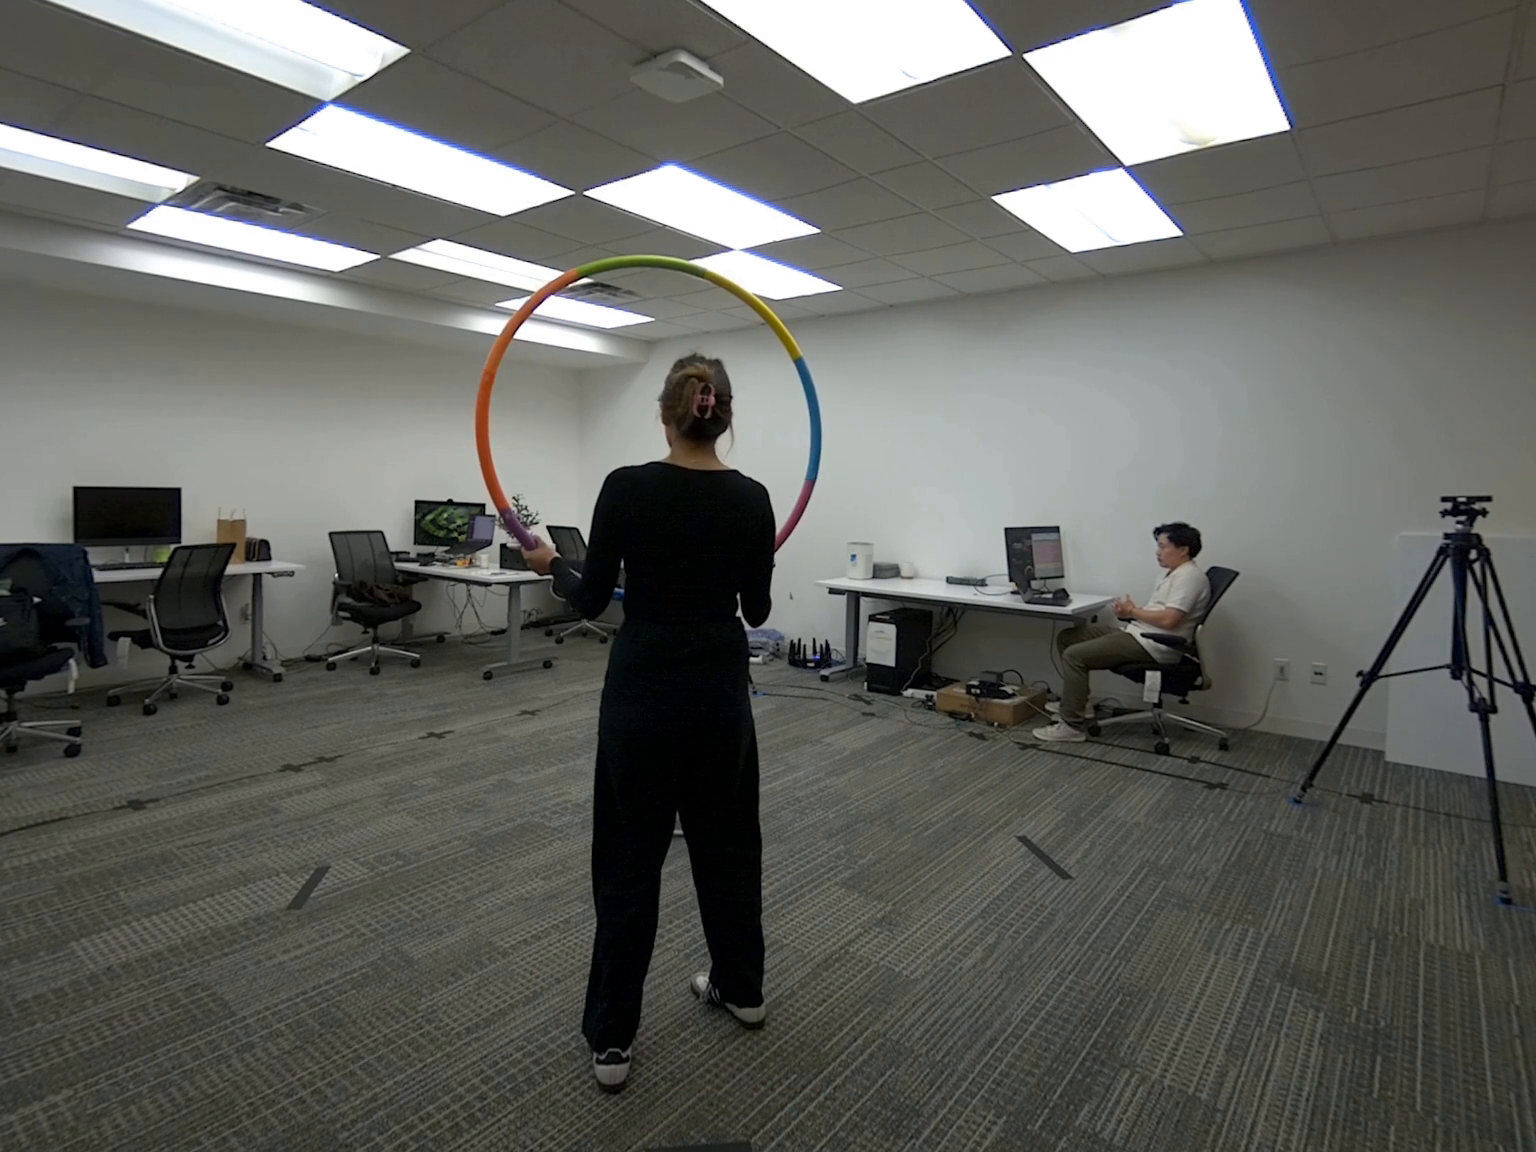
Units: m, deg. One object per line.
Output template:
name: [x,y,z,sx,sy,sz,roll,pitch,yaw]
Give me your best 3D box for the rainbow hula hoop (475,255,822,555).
rainbow hula hoop: [-0.319,-0.408,2.378,0.962,0.980,0.036,-1,-1,-17]
